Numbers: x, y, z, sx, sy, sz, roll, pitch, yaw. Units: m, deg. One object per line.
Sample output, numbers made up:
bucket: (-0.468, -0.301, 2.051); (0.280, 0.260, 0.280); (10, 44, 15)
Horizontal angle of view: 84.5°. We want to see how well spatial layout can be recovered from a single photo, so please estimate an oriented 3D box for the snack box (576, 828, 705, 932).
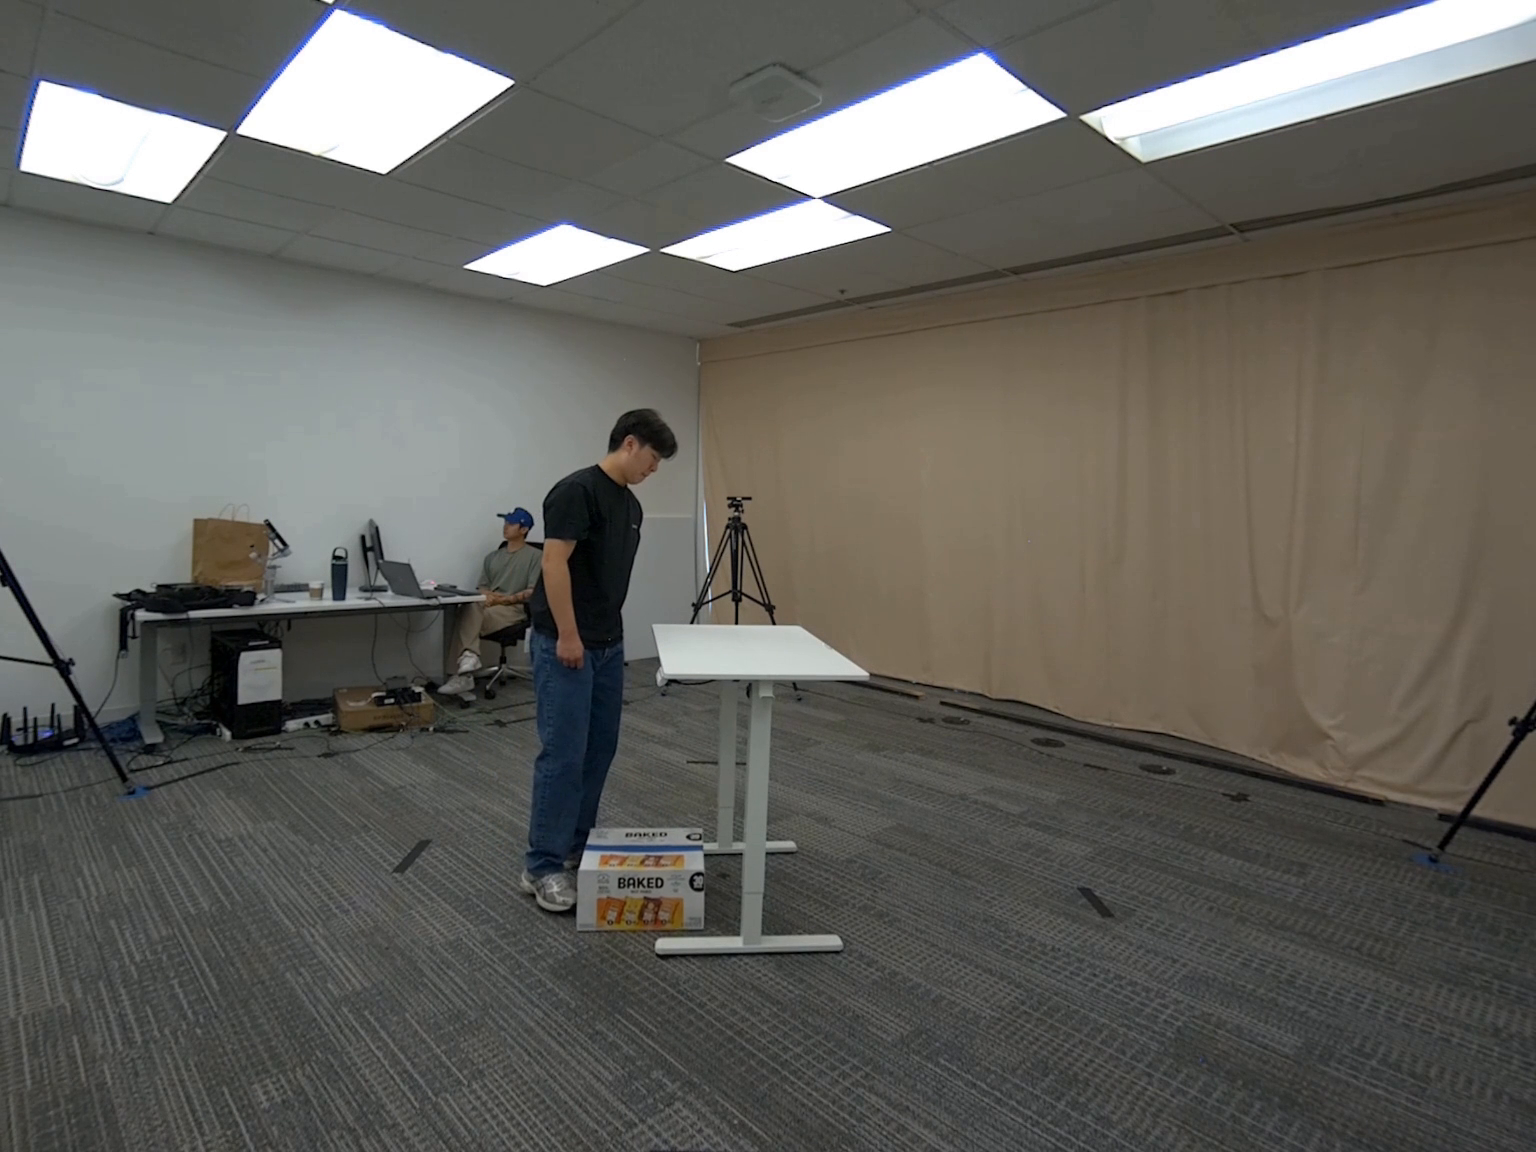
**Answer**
snack box: (-0.423, 1.024, 2.848); (0.404, 0.205, 0.342); (1, 5, -5)
